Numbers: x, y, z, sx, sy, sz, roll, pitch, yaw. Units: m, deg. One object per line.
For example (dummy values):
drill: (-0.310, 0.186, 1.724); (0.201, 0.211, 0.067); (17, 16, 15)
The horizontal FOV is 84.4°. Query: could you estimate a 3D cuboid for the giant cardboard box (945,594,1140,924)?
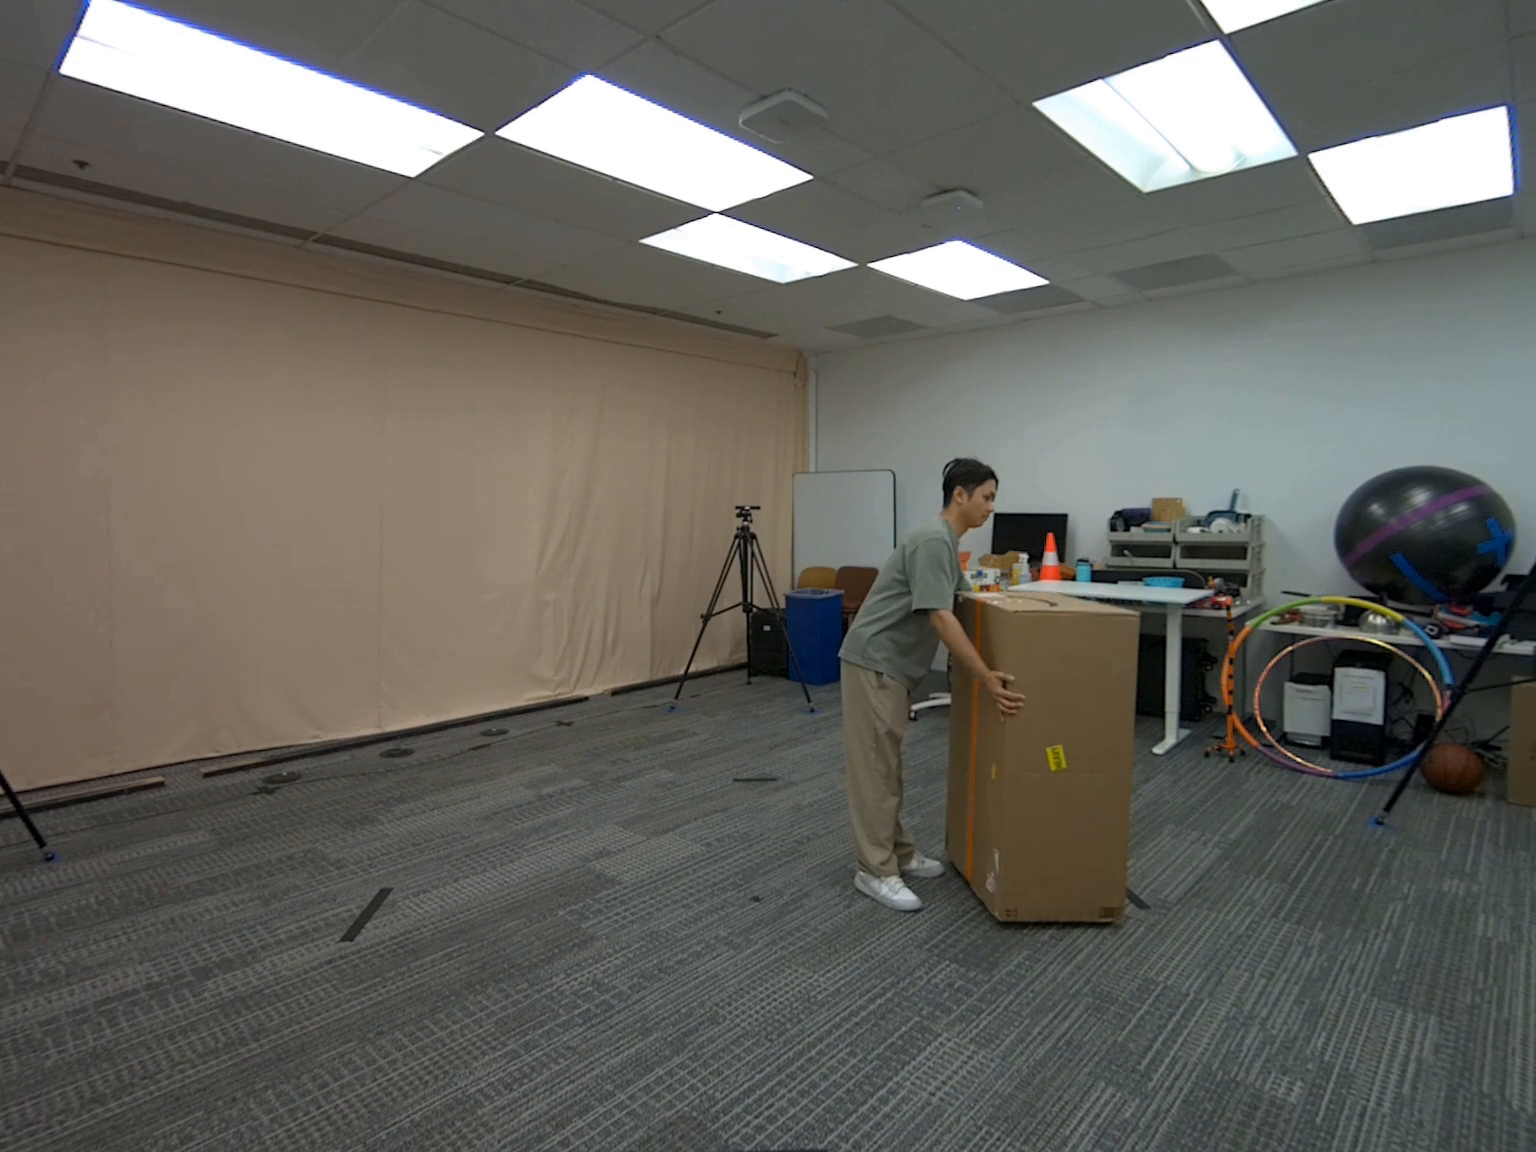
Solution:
giant cardboard box: (0.950, 0.594, 3.006); (0.424, 1.023, 0.582); (1, 4, -6)
